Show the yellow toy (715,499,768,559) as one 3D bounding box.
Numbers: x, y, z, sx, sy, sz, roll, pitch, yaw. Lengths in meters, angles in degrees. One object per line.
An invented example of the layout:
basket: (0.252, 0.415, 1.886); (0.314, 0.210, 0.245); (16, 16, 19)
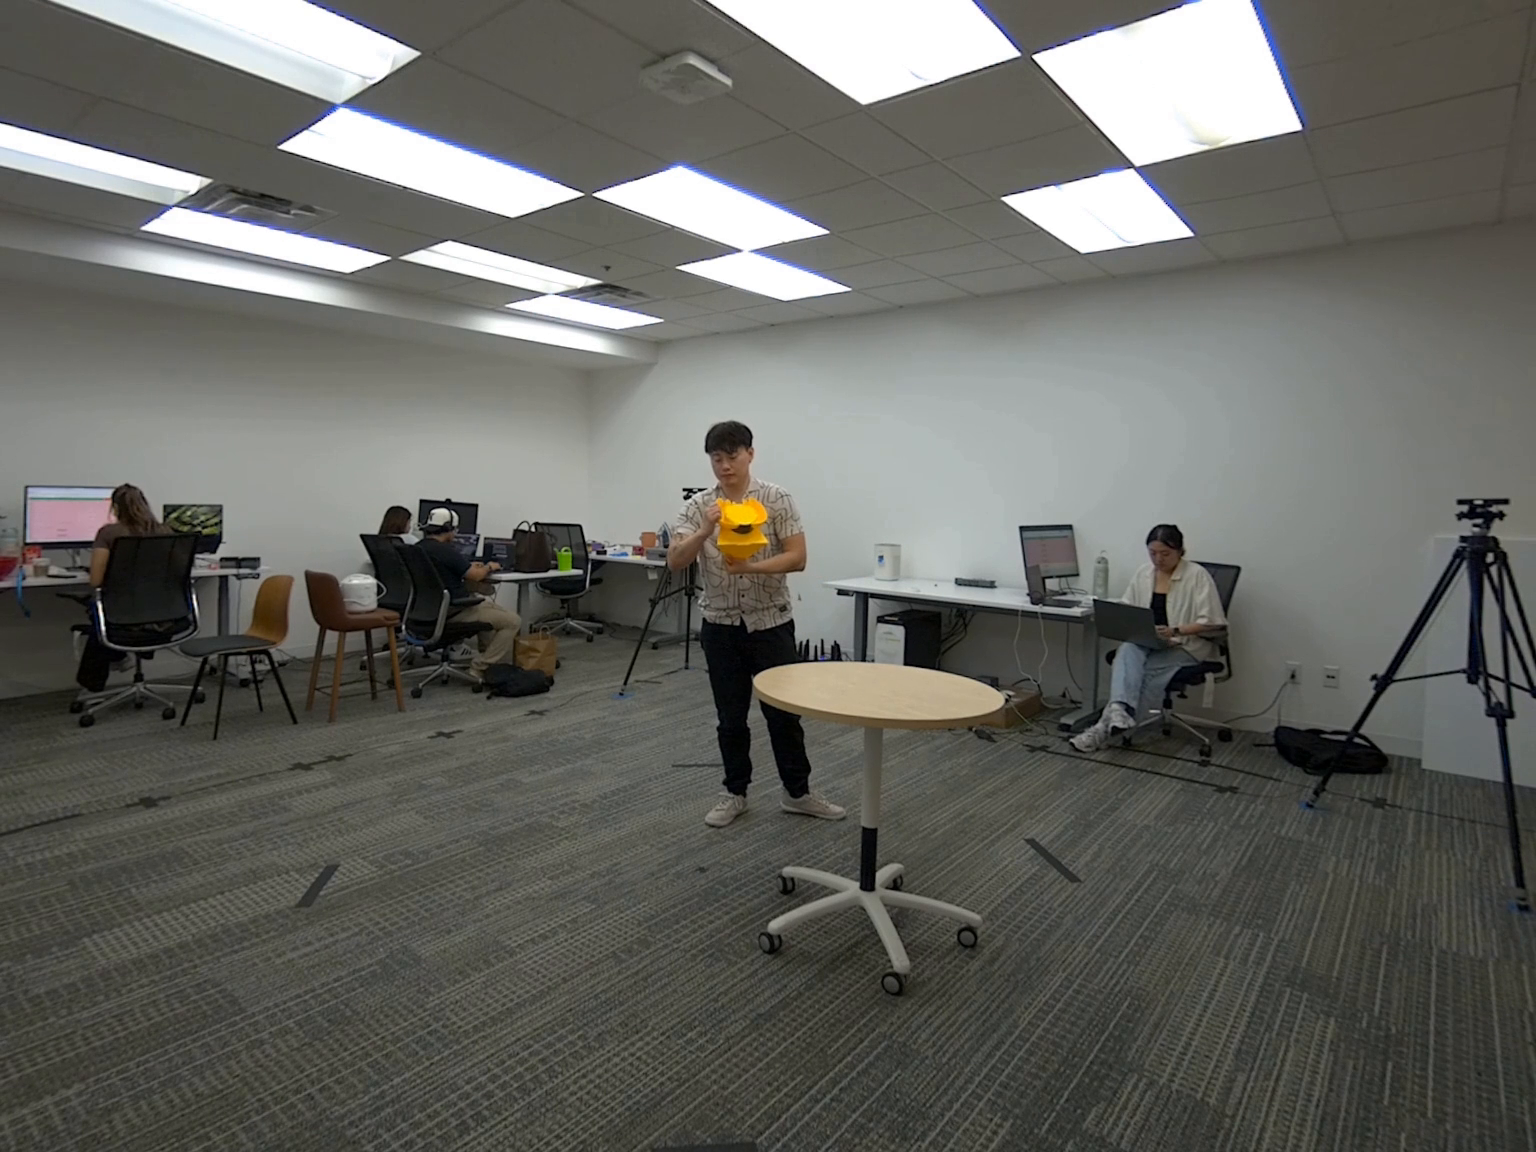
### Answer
yellow toy: (-0.142, -0.162, 3.304); (0.201, 0.225, 0.200); (-4, 43, -17)
